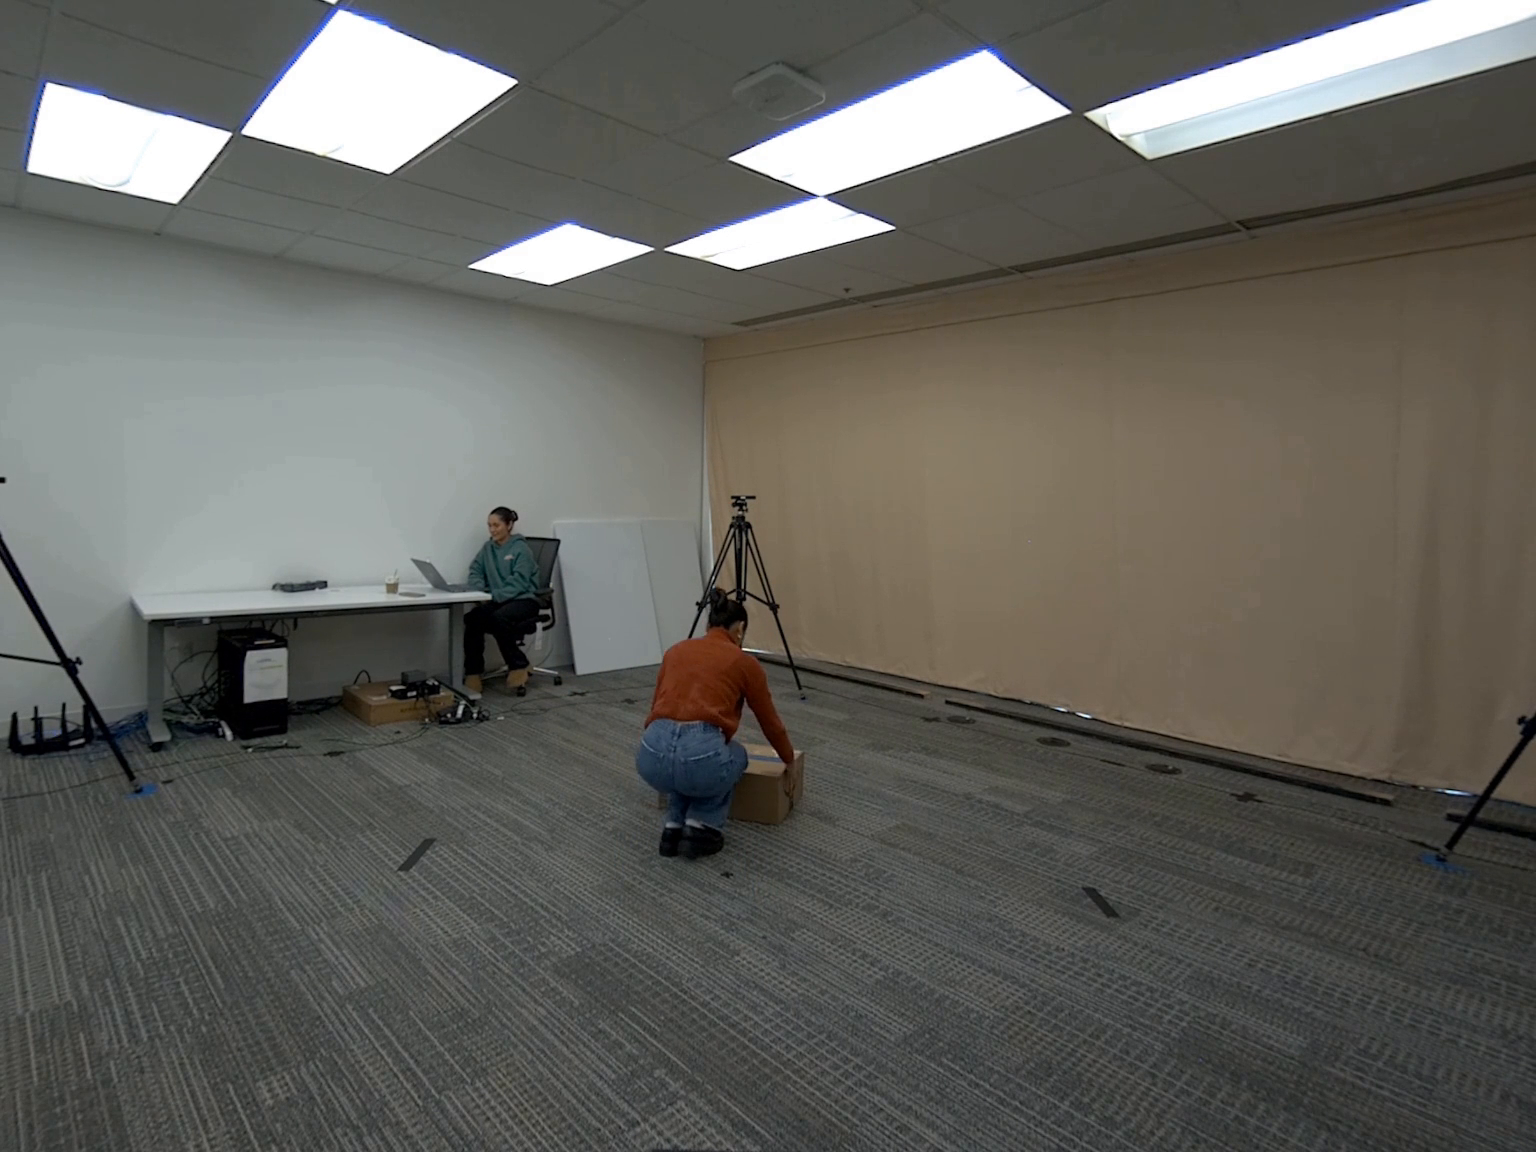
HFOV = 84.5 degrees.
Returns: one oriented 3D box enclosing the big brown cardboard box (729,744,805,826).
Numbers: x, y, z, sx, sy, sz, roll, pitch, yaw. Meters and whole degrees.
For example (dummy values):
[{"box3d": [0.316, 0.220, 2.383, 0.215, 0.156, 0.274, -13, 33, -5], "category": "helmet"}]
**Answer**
[{"box3d": [-0.164, 0.926, 3.853, 0.597, 0.232, 0.413, 2, 5, 17], "category": "big brown cardboard box"}]
